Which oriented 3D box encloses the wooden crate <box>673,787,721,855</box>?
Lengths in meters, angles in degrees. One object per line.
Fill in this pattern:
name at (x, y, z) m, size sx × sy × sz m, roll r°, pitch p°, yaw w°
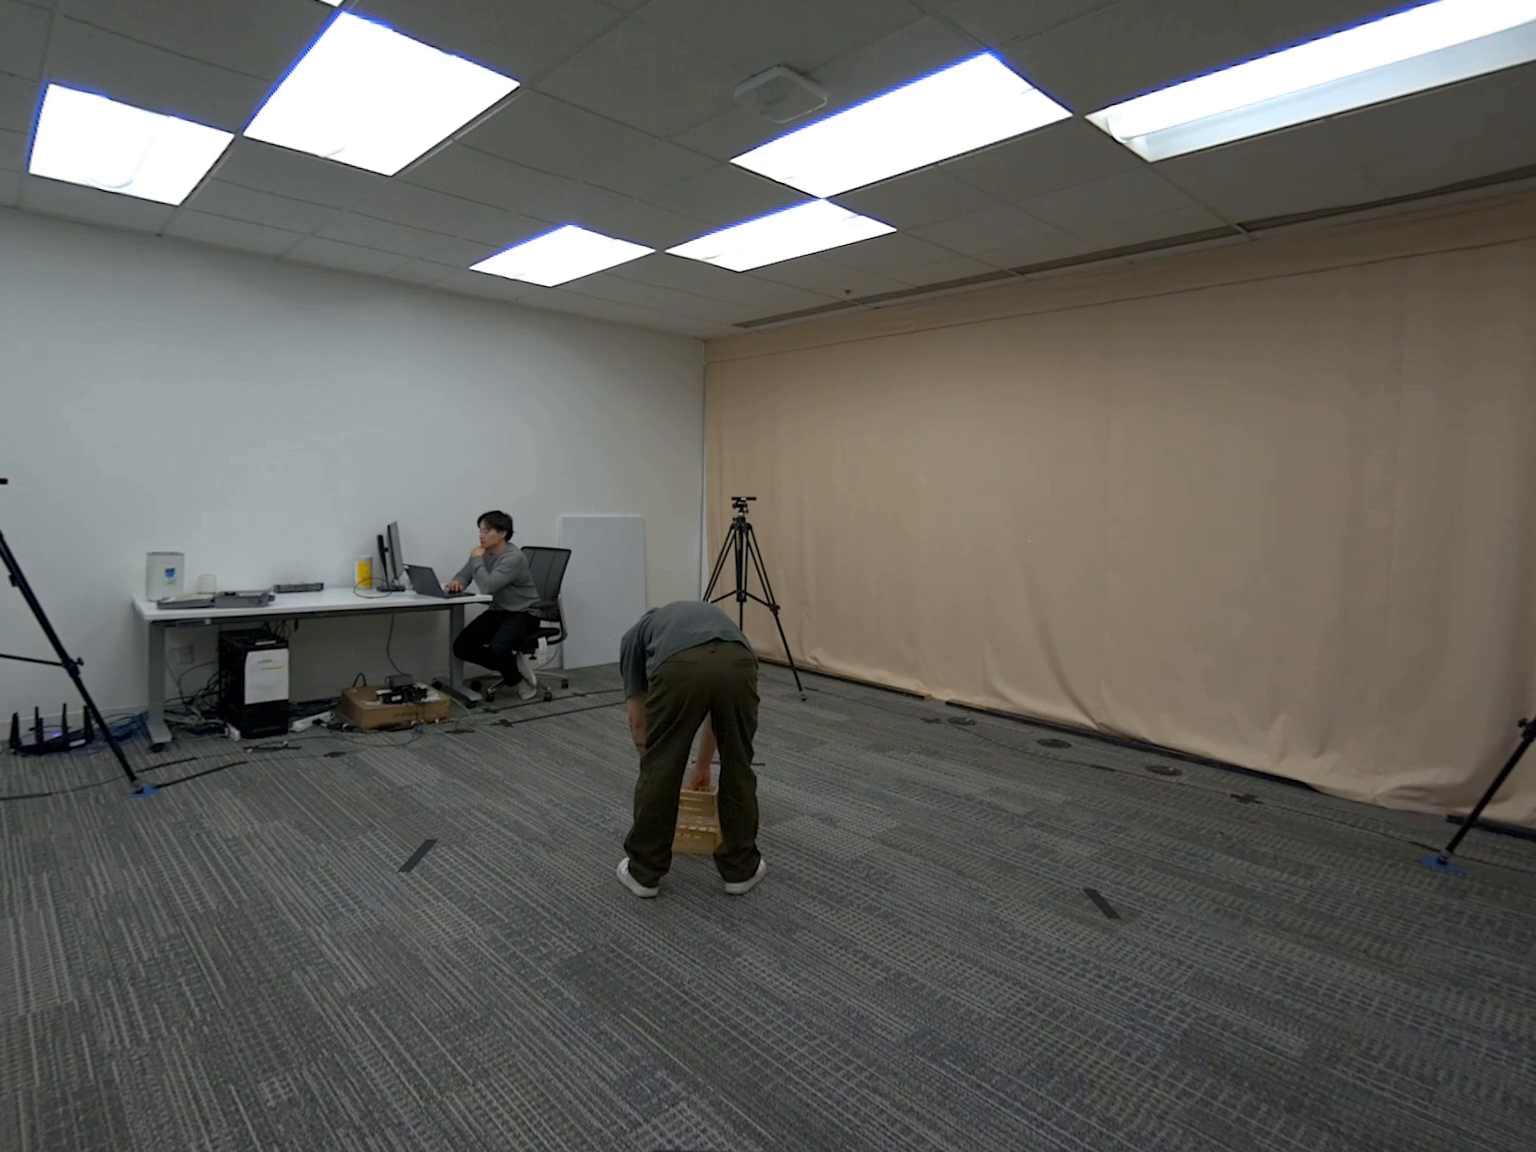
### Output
wooden crate at (-0.339, 0.954, 3.405) m, size 0.327 × 0.273 × 0.299 m, roll 2°, pitch 2°, yaw 10°
